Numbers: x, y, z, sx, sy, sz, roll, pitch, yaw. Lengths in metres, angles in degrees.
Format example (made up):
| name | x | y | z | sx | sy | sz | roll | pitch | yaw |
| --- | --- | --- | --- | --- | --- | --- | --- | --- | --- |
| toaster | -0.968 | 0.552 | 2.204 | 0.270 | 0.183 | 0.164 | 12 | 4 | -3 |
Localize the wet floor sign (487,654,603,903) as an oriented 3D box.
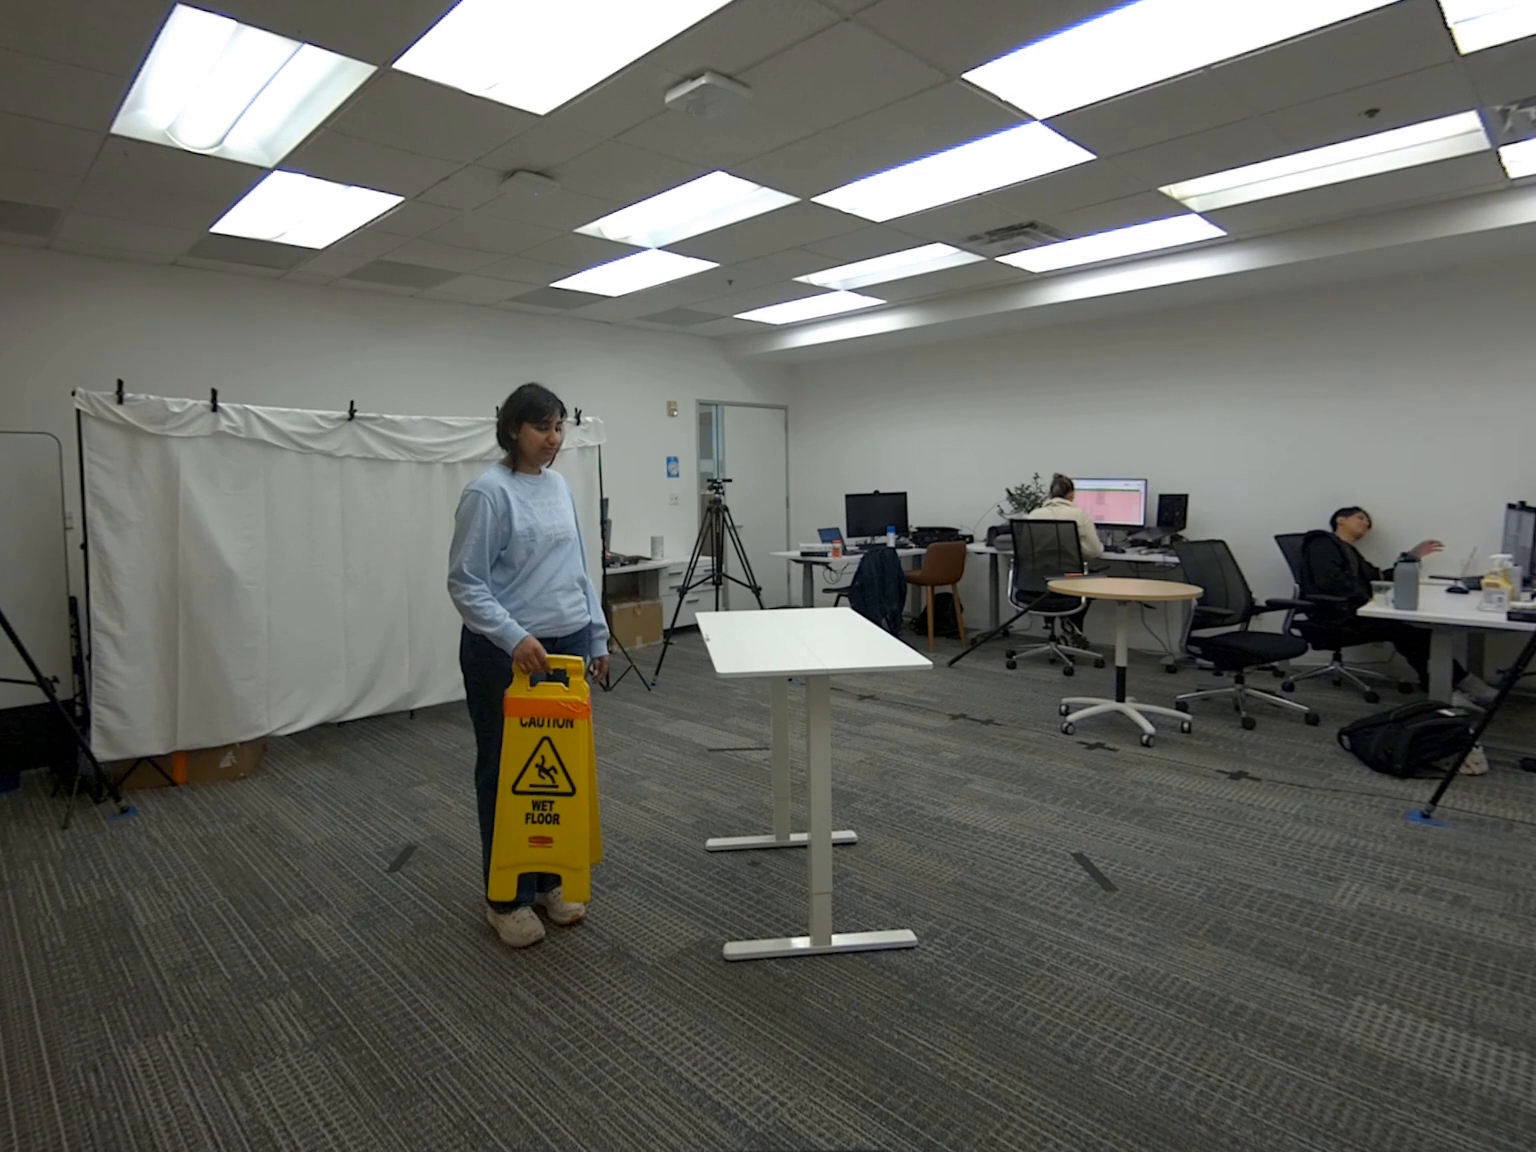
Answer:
| name | x | y | z | sx | sy | sz | roll | pitch | yaw |
| --- | --- | --- | --- | --- | --- | --- | --- | --- | --- |
| wet floor sign | -0.615 | 0.557 | 2.413 | 0.281 | 0.644 | 0.291 | 0 | 4 | -4 |
